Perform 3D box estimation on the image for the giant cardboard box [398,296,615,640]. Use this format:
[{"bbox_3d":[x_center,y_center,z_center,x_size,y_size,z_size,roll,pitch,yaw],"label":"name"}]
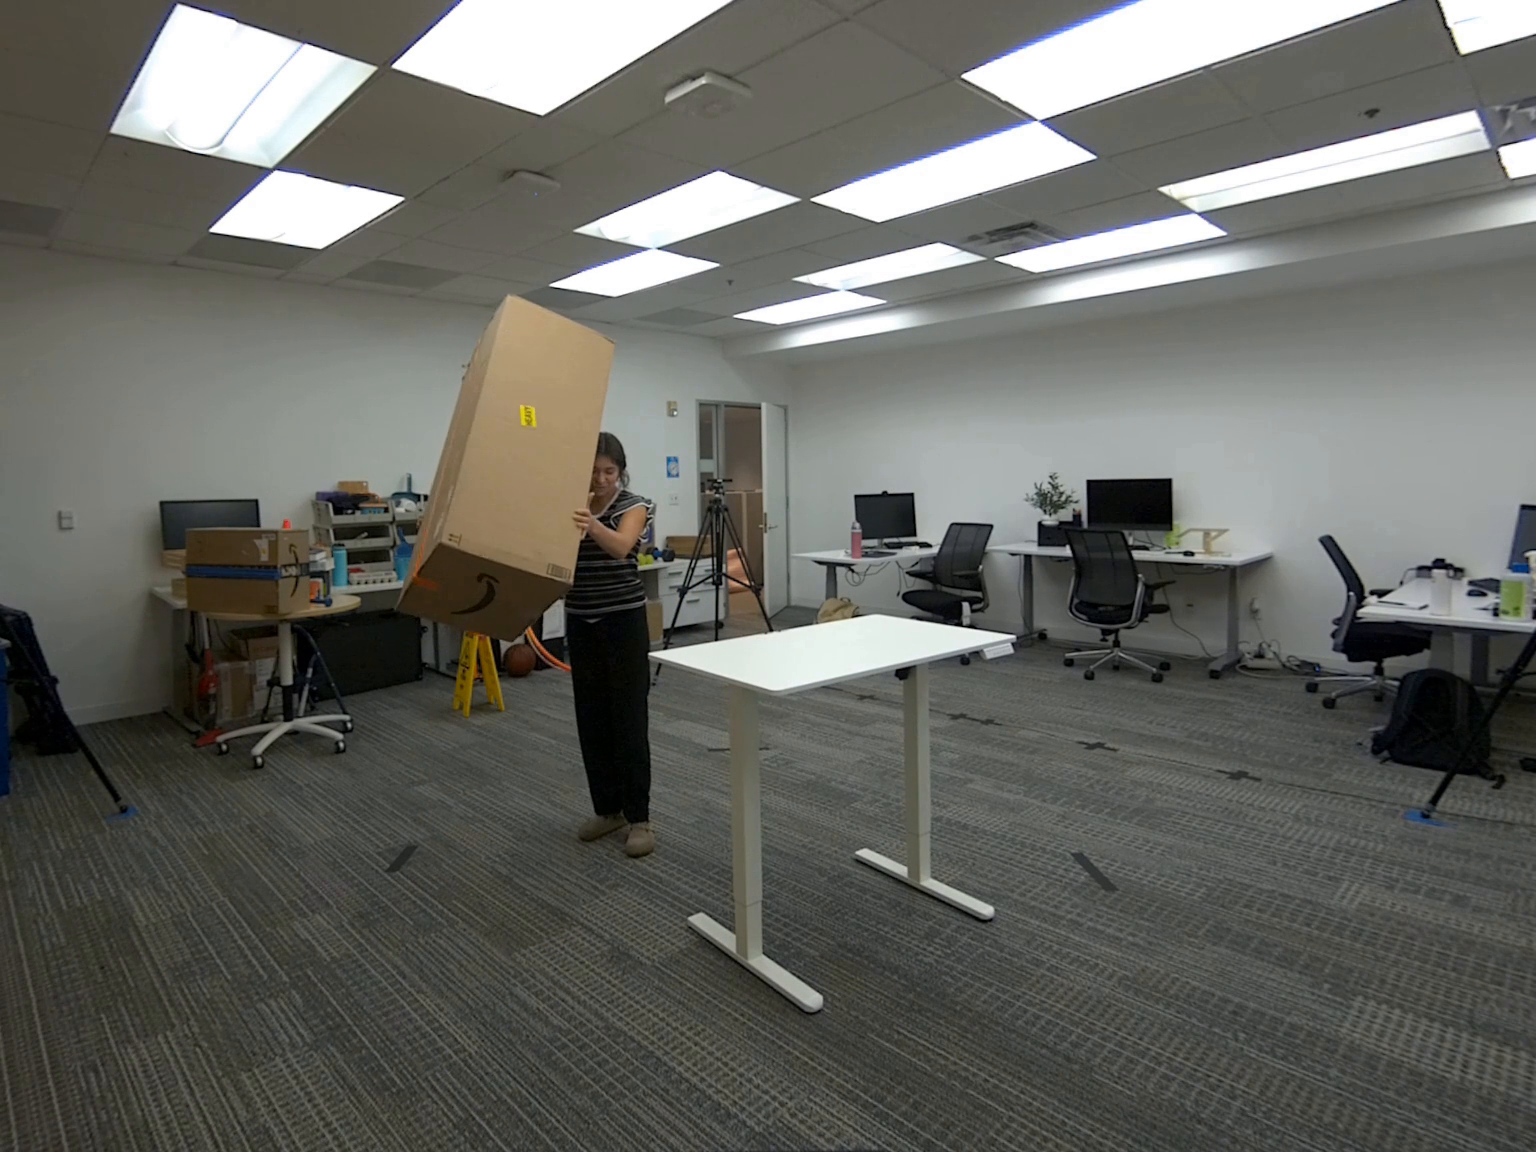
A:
[{"bbox_3d":[-0.915,-0.368,3.036,0.414,1.049,0.581,20,-34,-27],"label":"giant cardboard box"}]
